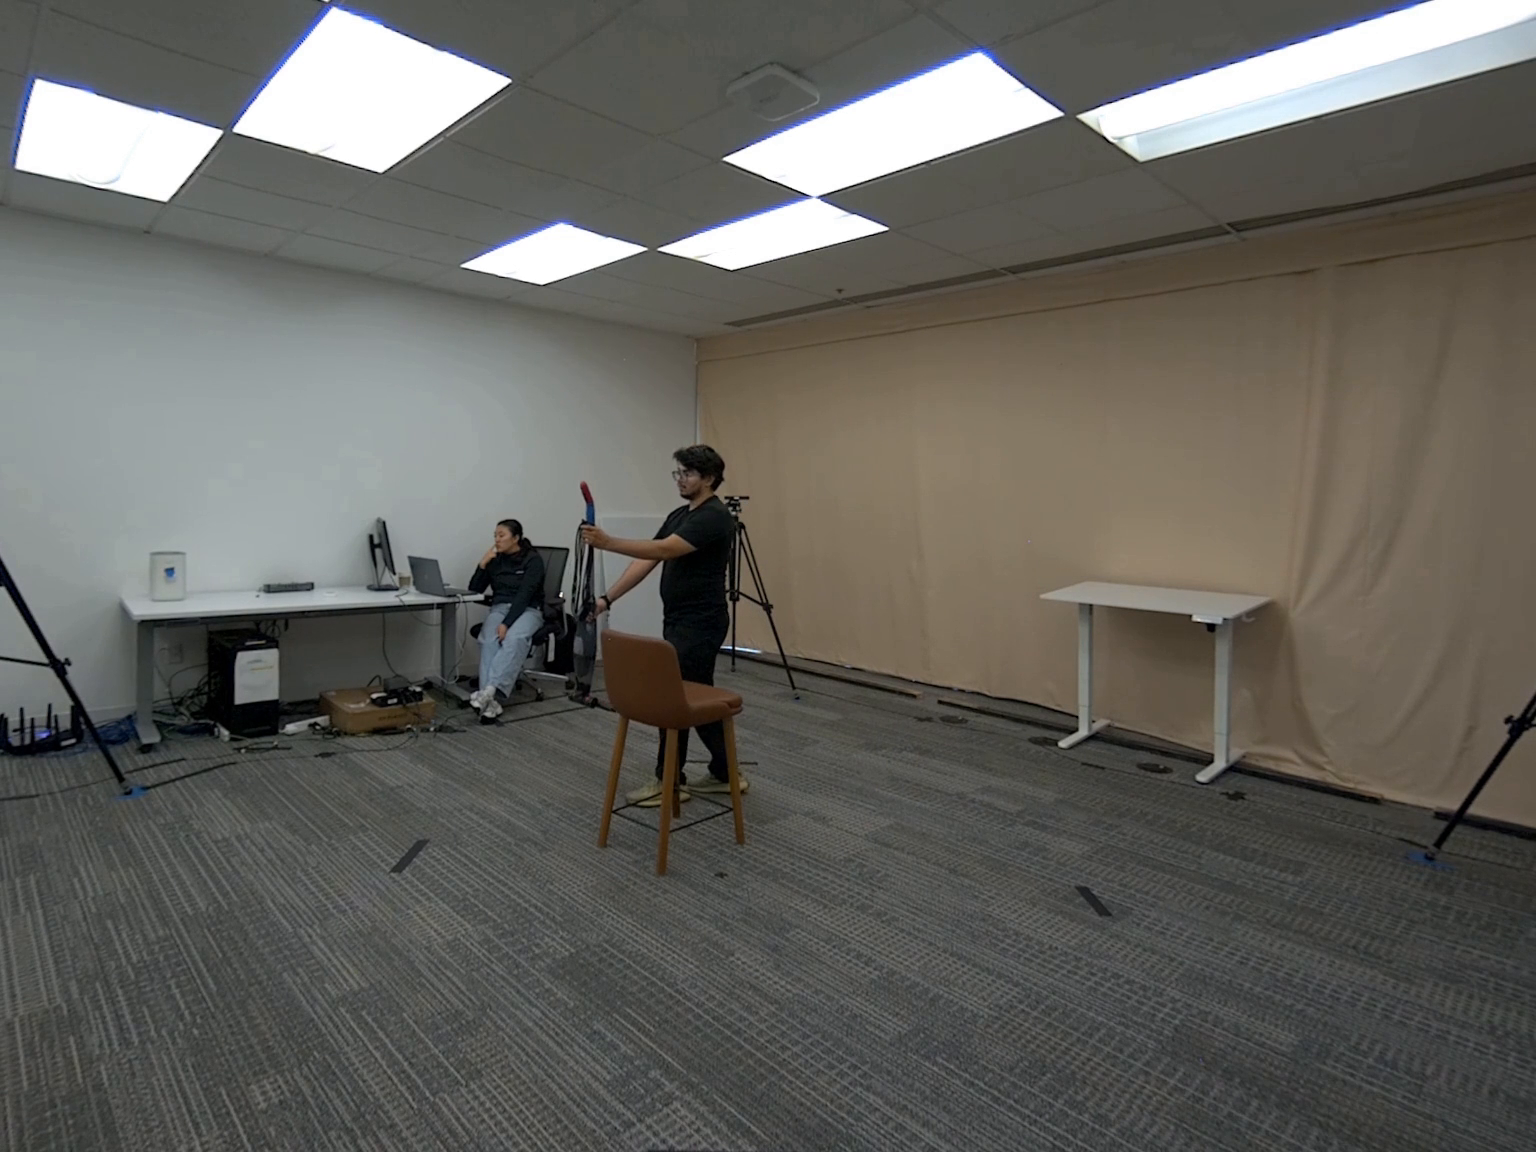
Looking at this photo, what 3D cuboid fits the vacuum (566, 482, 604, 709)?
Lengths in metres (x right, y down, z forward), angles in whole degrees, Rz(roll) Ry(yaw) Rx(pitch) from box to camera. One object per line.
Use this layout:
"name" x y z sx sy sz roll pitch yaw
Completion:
"vacuum" -0.815 0.091 3.722 0.259 1.035 0.142 16 23 33
